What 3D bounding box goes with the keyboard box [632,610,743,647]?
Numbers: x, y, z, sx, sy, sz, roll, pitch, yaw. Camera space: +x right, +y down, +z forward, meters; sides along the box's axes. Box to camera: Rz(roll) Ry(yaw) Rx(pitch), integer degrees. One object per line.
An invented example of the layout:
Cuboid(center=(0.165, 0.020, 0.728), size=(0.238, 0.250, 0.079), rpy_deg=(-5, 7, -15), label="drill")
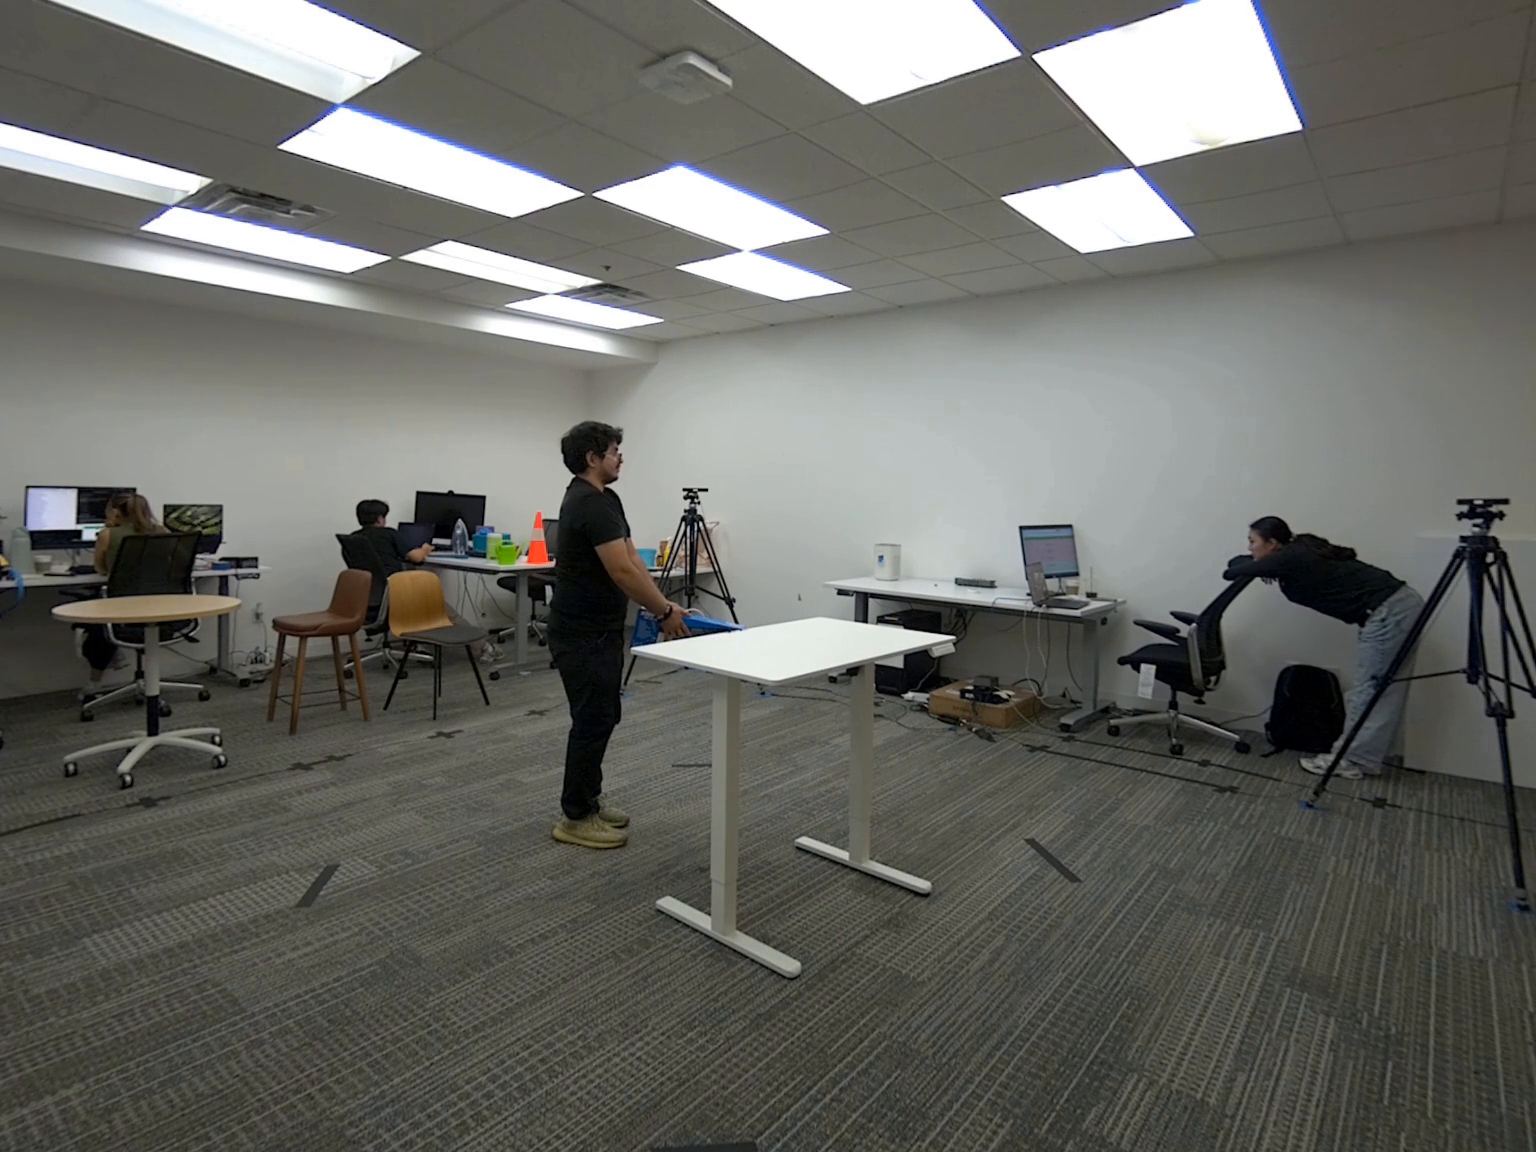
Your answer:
Cuboid(center=(-0.328, 0.250, 3.381), size=(0.435, 0.175, 0.060), rpy_deg=(10, 9, -3), label="keyboard box")
